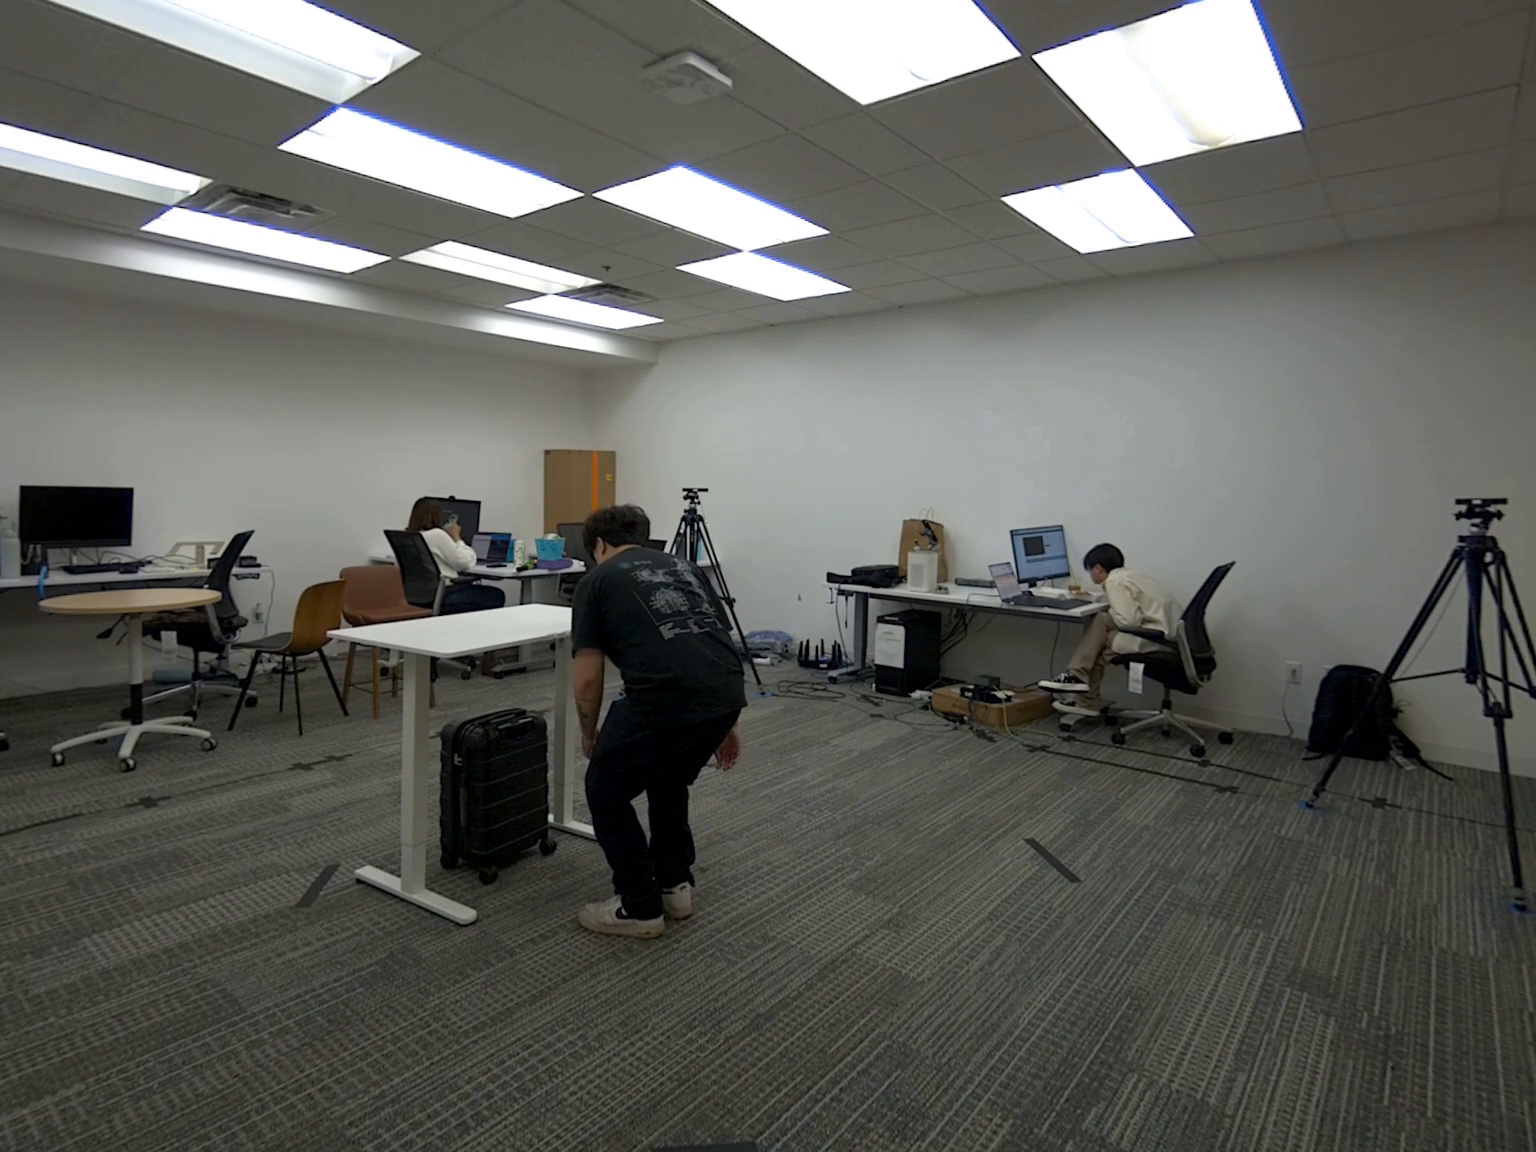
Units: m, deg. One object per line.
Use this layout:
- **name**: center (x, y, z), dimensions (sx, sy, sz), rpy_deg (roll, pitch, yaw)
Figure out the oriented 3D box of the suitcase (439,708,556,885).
- **suitcase**: center (-1.026, 0.780, 3.150), dimensions (0.256, 0.548, 0.365), rpy_deg (0, 3, 33)
